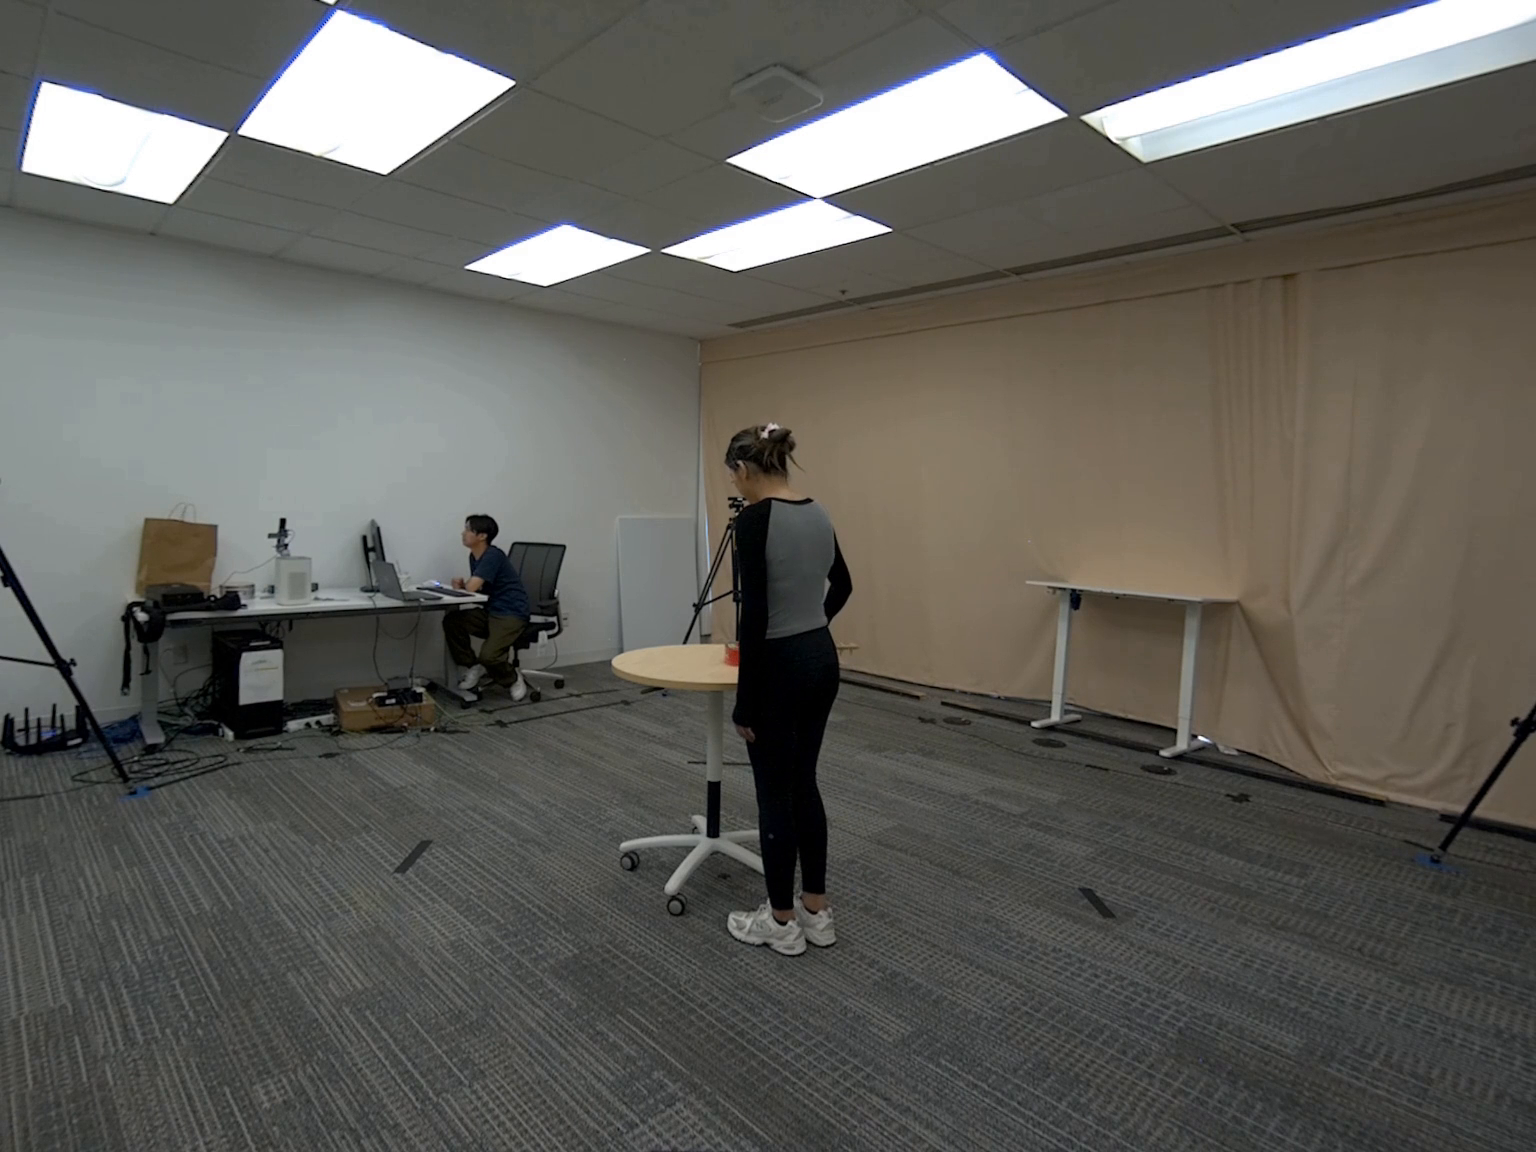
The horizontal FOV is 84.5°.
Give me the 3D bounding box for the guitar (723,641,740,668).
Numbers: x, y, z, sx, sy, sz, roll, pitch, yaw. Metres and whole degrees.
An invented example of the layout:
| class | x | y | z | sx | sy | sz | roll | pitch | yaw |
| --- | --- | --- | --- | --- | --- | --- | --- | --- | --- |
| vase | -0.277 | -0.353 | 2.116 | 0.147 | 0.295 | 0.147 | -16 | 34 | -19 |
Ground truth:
| class | x | y | z | sx | sy | sz | roll | pitch | yaw |
| --- | --- | --- | --- | --- | --- | --- | --- | --- | --- |
| guitar | 0.087 | 0.291 | 3.070 | 0.499 | 0.070 | 0.193 | 1 | 5 | 4 |
